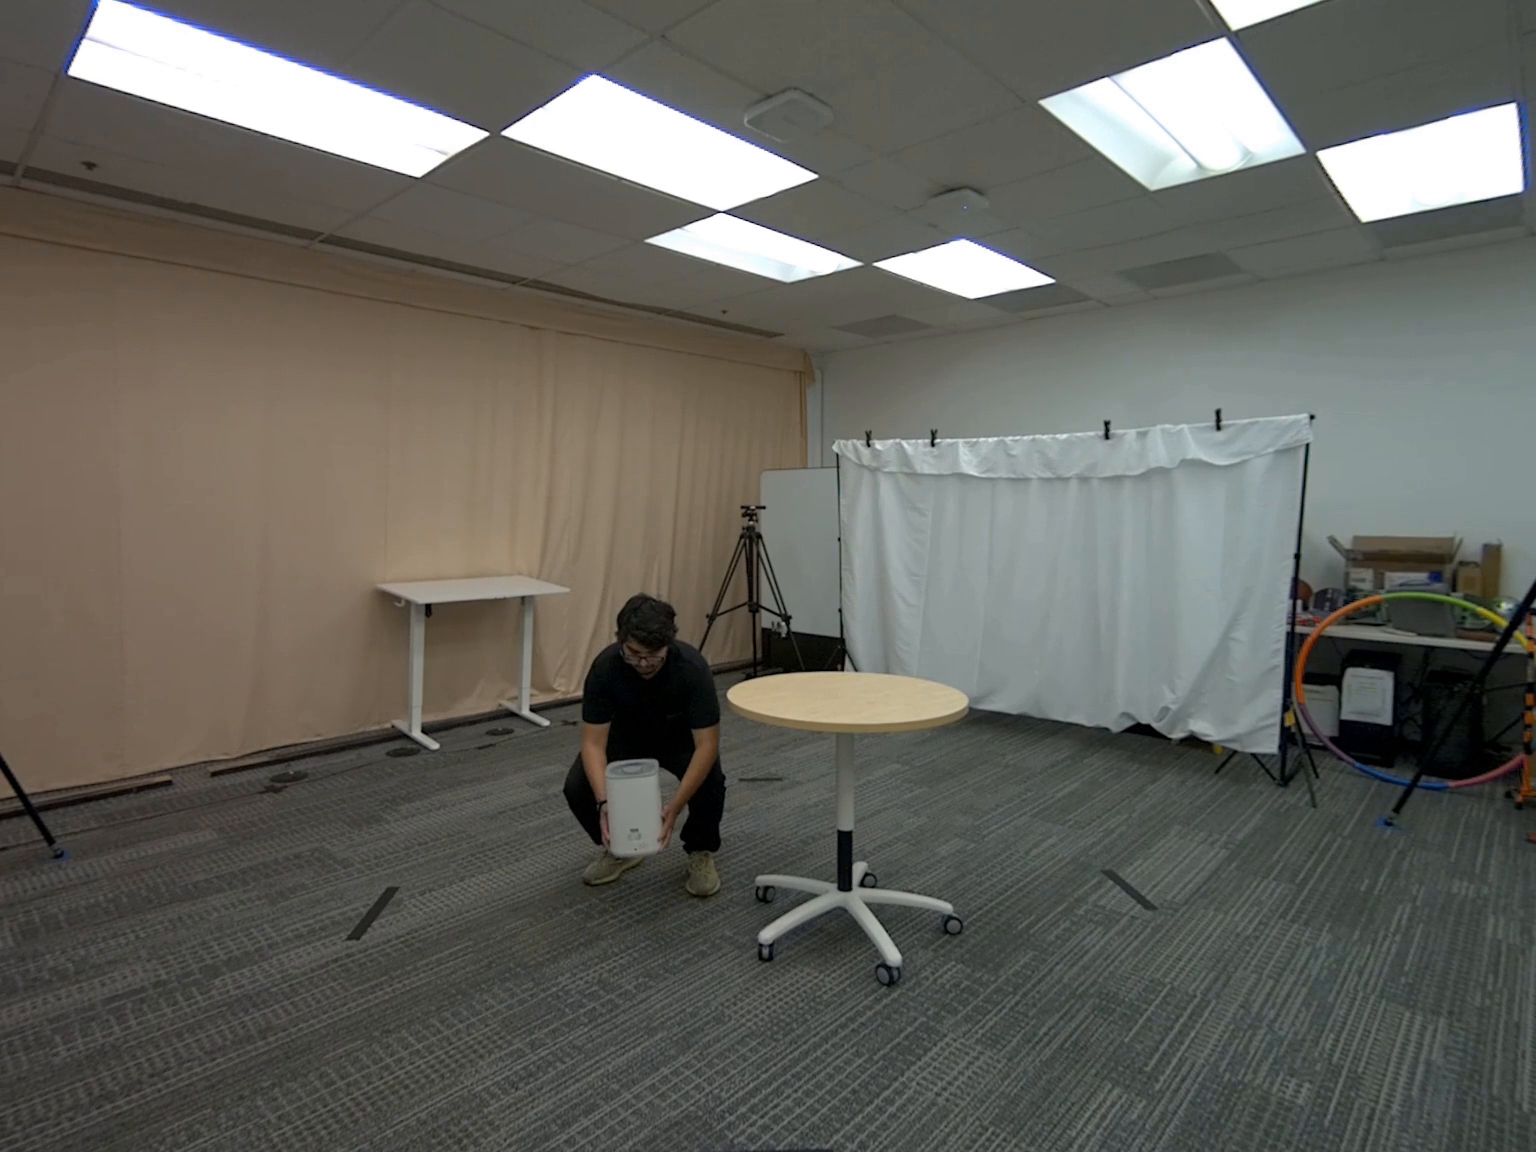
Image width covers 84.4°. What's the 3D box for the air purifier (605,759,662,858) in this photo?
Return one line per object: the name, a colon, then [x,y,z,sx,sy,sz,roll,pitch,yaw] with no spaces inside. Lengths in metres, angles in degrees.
air purifier: [-0.422,0.733,2.695,0.170,0.265,0.173,-4,4,-6]
